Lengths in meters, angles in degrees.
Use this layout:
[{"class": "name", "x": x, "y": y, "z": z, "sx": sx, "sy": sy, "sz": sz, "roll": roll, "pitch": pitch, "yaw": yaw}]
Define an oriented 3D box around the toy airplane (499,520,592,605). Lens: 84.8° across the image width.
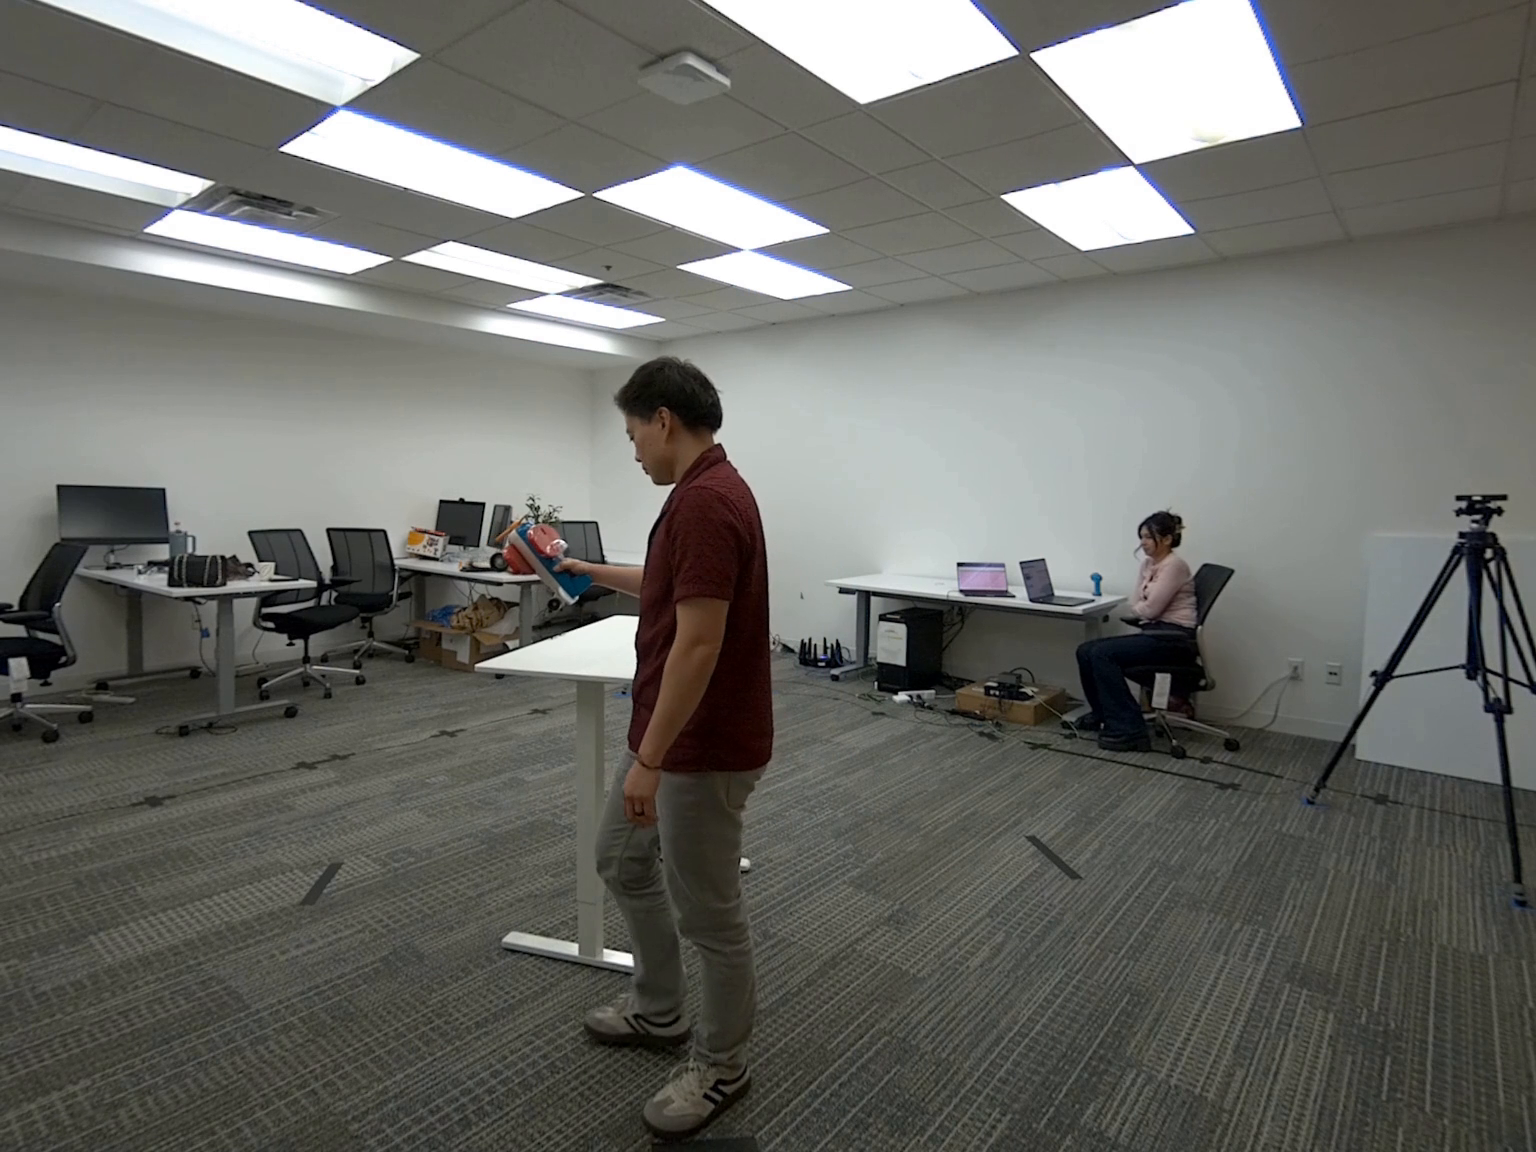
[{"class": "toy airplane", "x": -0.618, "y": -0.035, "z": 2.264, "sx": 0.249, "sy": 0.156, "sz": 0.261, "roll": 36, "pitch": 3, "yaw": -32}]
